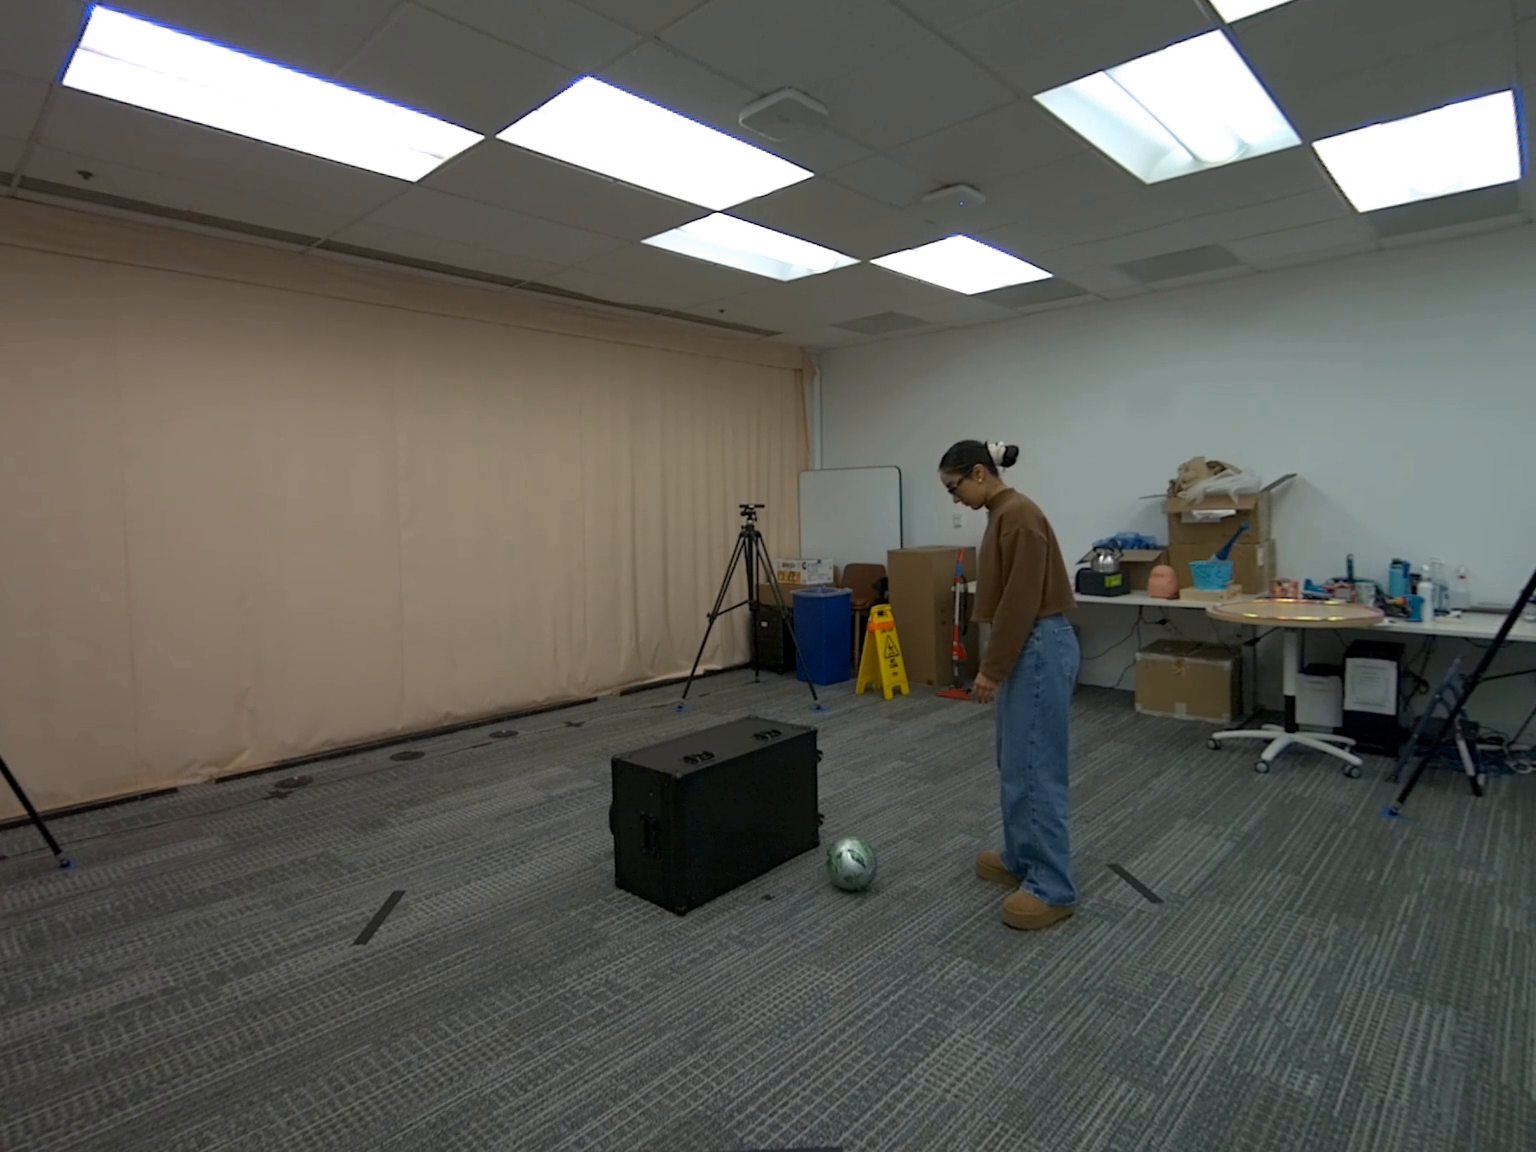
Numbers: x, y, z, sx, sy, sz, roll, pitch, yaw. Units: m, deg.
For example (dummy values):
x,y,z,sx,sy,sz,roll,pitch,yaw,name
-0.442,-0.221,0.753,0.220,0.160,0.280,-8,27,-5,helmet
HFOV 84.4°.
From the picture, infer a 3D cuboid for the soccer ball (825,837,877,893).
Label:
x,y,z,sx,sy,sz,roll,pitch,yaw,name
0.307,1.043,3.032,0.187,0.187,0.188,-1,4,-2,soccer ball
